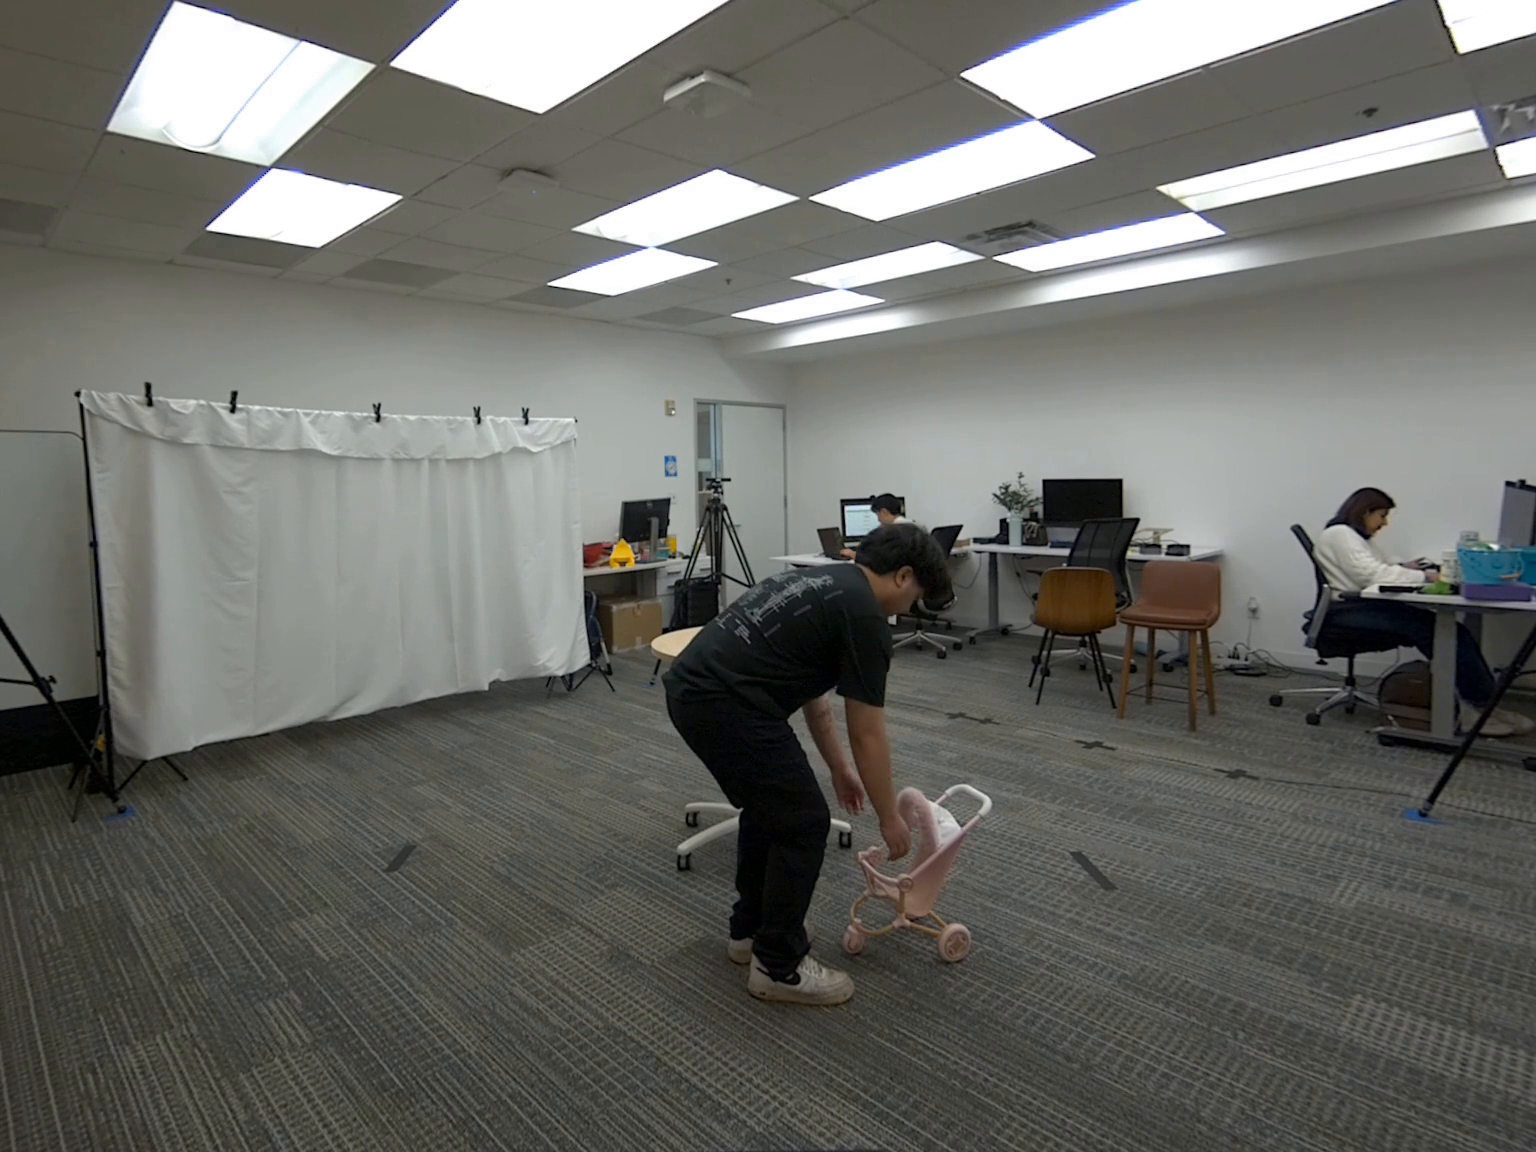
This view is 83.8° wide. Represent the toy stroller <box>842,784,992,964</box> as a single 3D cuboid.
[{"bbox_3d":[0.426,0.874,2.547,0.336,0.535,0.286,13,1,-13],"label":"toy stroller"}]
